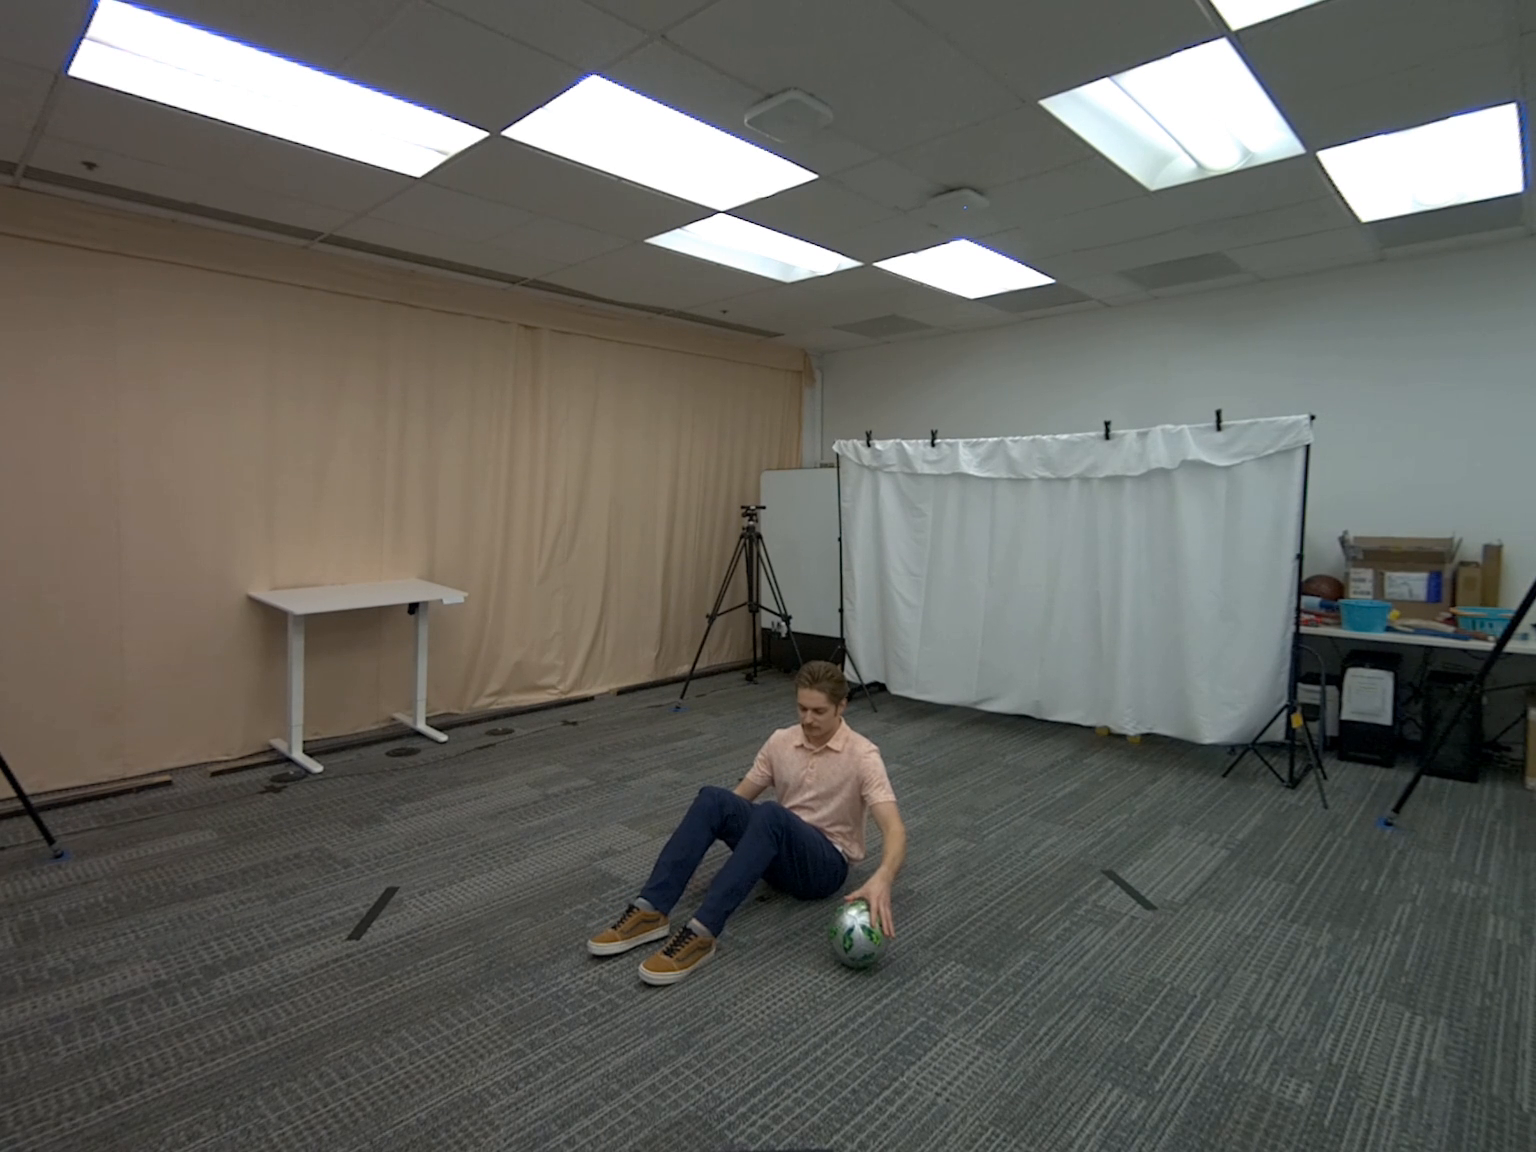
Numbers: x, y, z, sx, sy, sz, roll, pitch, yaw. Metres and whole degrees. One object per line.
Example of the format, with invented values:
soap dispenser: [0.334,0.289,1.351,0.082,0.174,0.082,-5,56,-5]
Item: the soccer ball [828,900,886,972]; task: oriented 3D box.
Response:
soccer ball: [0.271,1.081,2.563,0.187,0.187,0.188,0,4,-2]
